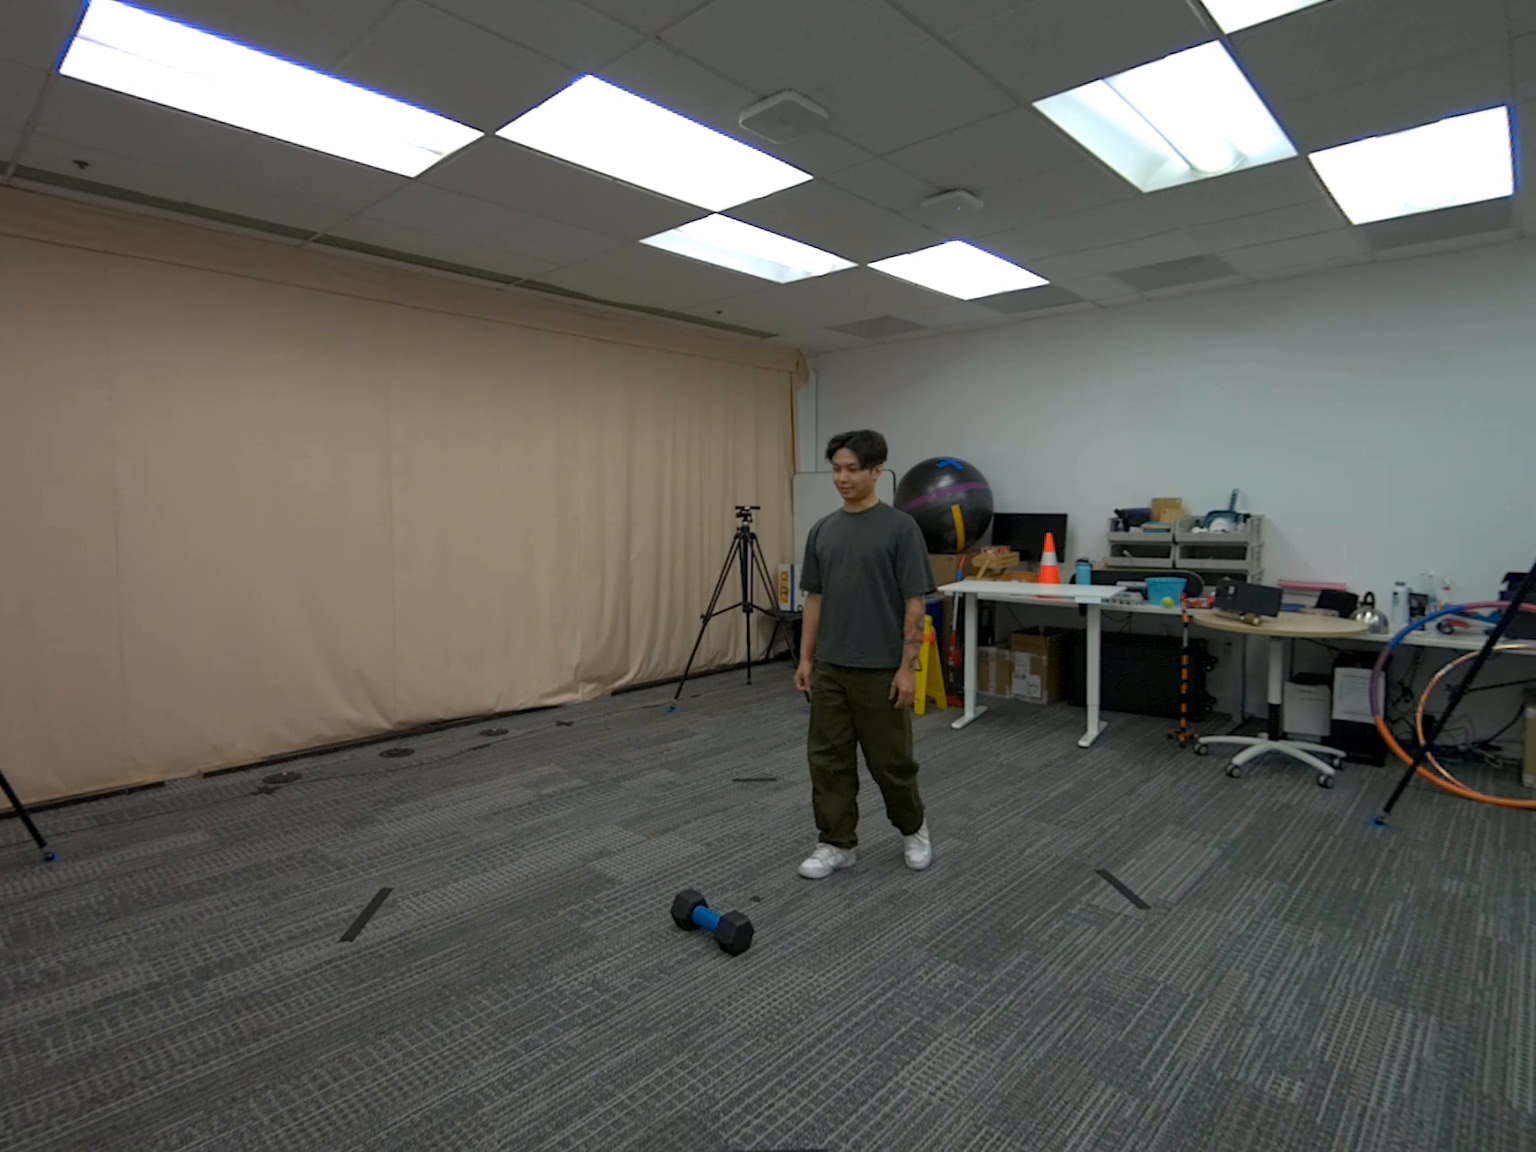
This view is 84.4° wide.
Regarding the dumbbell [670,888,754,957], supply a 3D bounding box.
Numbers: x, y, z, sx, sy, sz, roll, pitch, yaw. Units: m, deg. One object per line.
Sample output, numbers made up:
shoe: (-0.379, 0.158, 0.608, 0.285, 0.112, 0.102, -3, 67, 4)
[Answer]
dumbbell: (-0.181, 1.113, 2.714, 0.303, 0.120, 0.107, 4, 36, 45)
